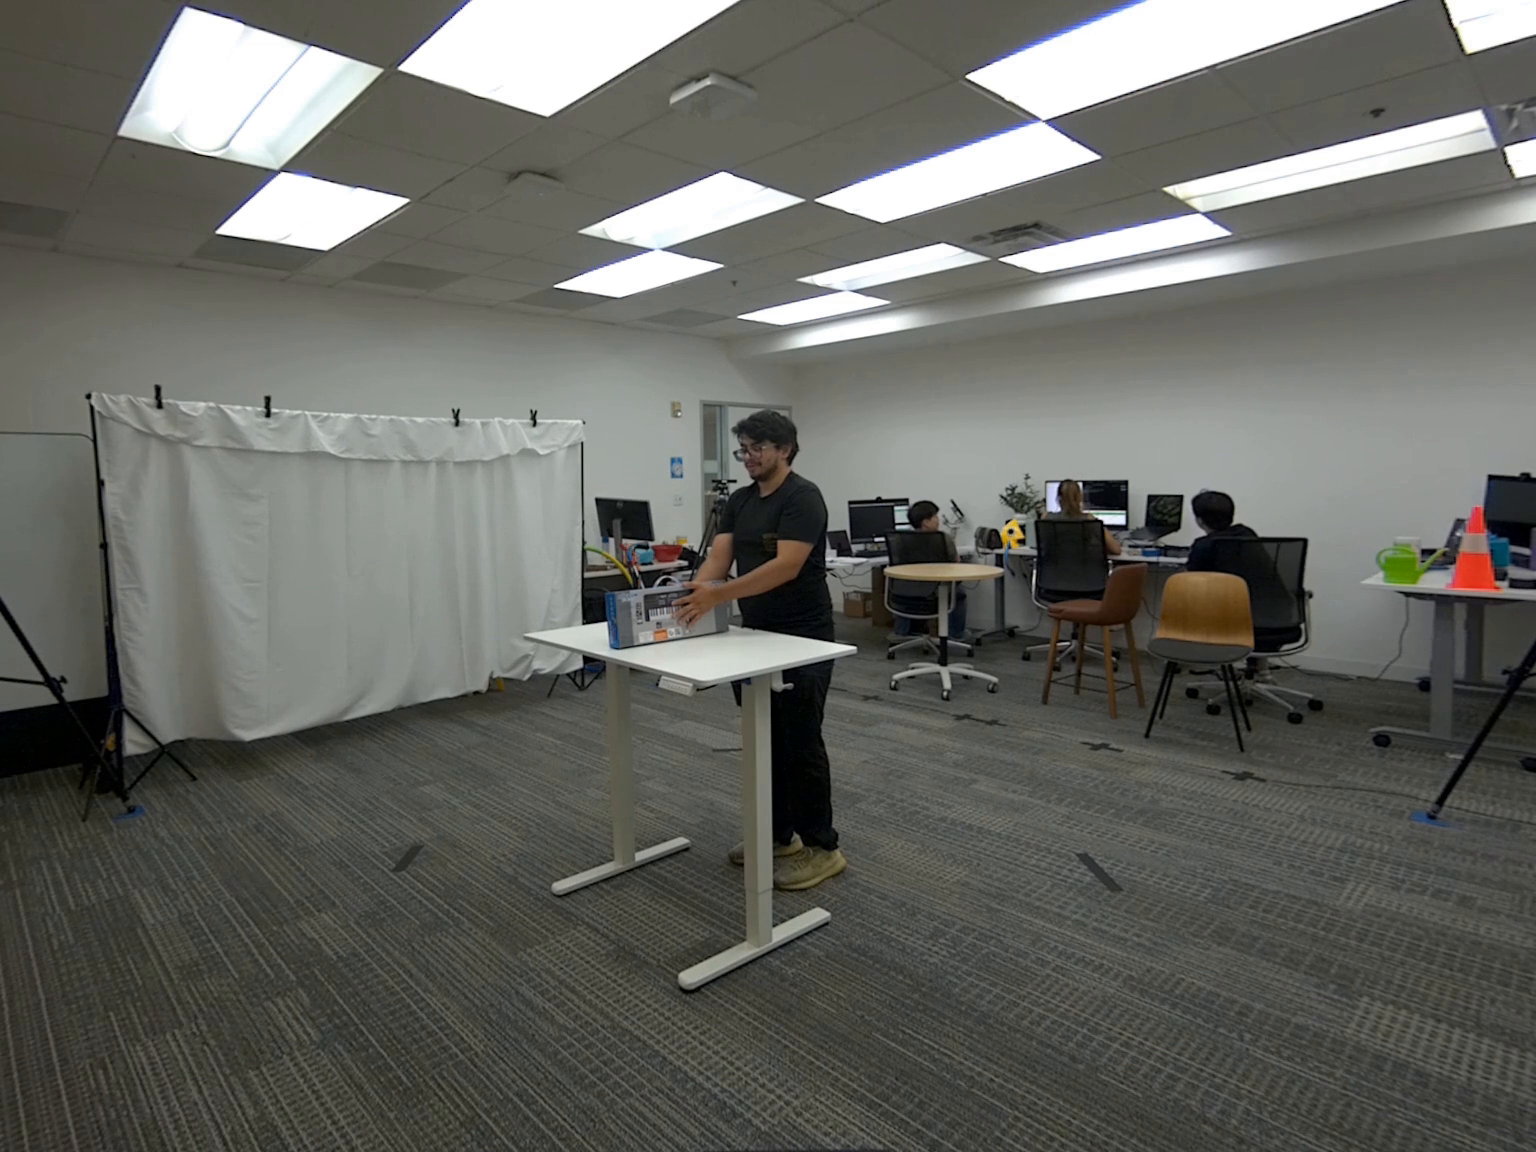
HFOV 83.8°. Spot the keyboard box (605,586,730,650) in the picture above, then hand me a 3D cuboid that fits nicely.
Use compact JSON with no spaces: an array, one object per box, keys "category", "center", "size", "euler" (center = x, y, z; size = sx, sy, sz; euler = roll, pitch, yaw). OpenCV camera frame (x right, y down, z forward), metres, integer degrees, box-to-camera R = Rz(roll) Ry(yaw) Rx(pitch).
[{"category":"keyboard box","center":[-0.317,0.122,2.773],"size":[0.426,0.176,0.060],"euler":[-6,0,-39]}]
